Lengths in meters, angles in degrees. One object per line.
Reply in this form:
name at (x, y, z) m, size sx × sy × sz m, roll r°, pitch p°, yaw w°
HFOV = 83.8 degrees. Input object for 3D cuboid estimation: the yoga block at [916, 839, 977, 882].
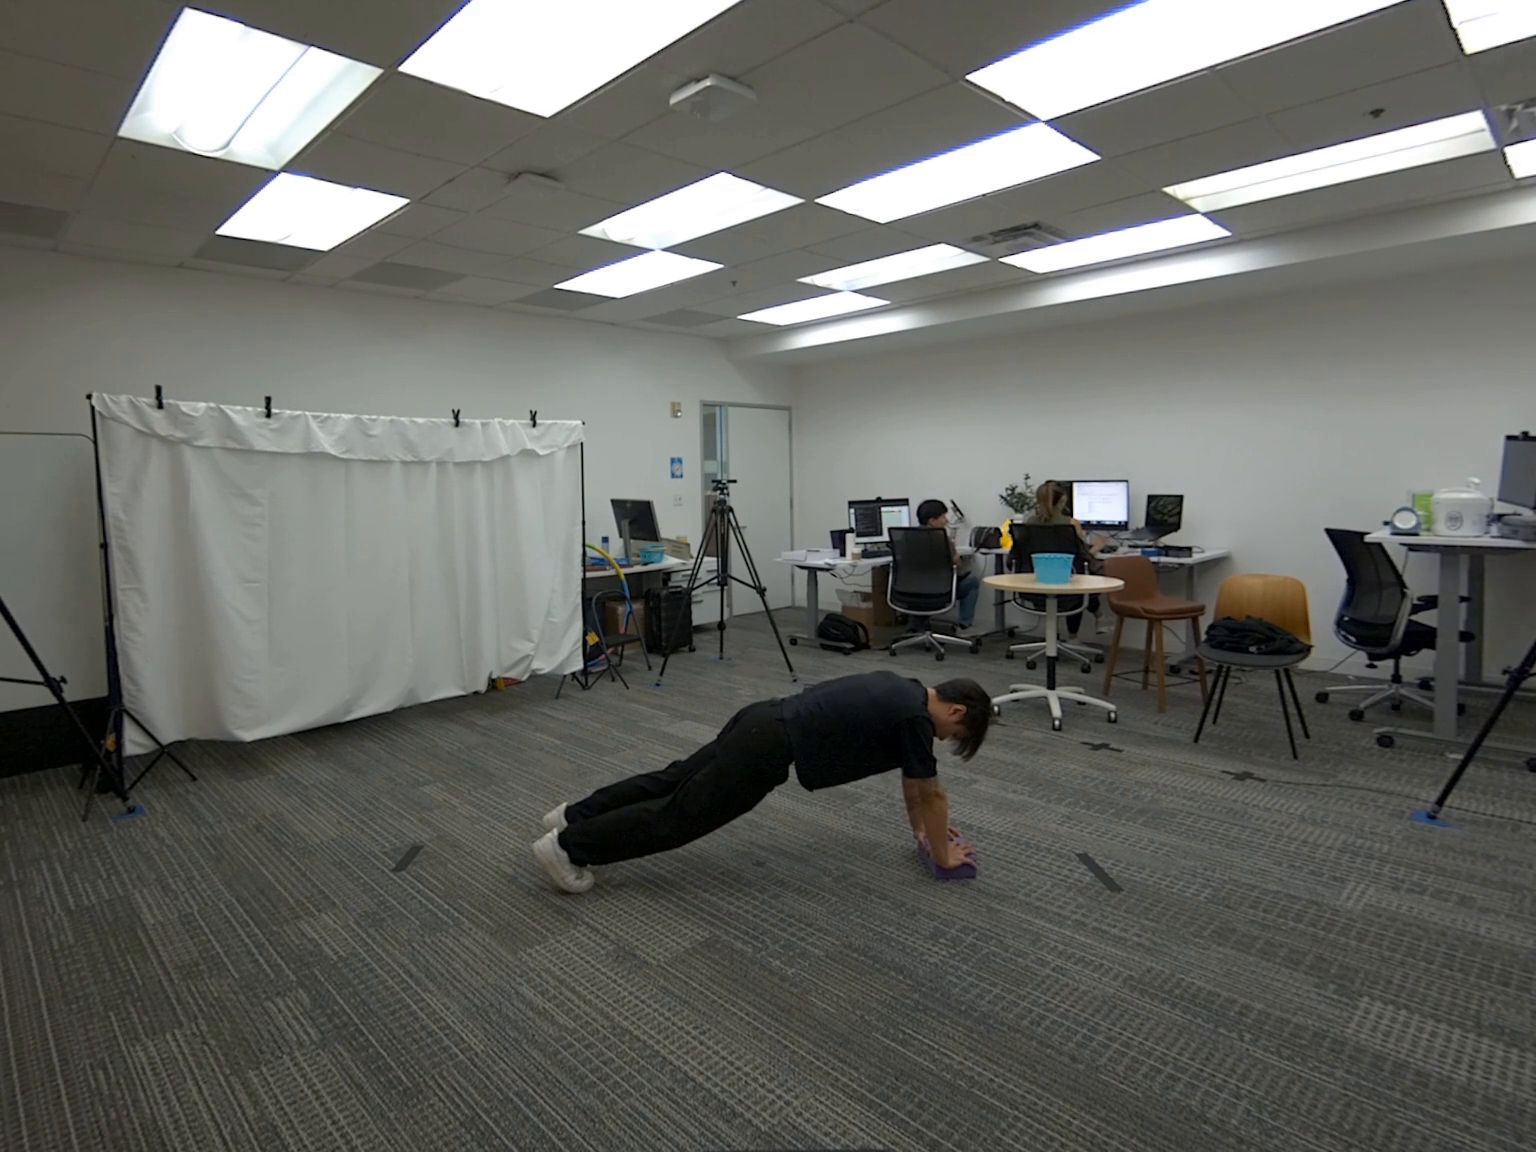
yoga block at (0.641, 1.000, 3.067) m, size 0.148 × 0.076 × 0.232 m, roll 0°, pitch 6°, yaw -7°
